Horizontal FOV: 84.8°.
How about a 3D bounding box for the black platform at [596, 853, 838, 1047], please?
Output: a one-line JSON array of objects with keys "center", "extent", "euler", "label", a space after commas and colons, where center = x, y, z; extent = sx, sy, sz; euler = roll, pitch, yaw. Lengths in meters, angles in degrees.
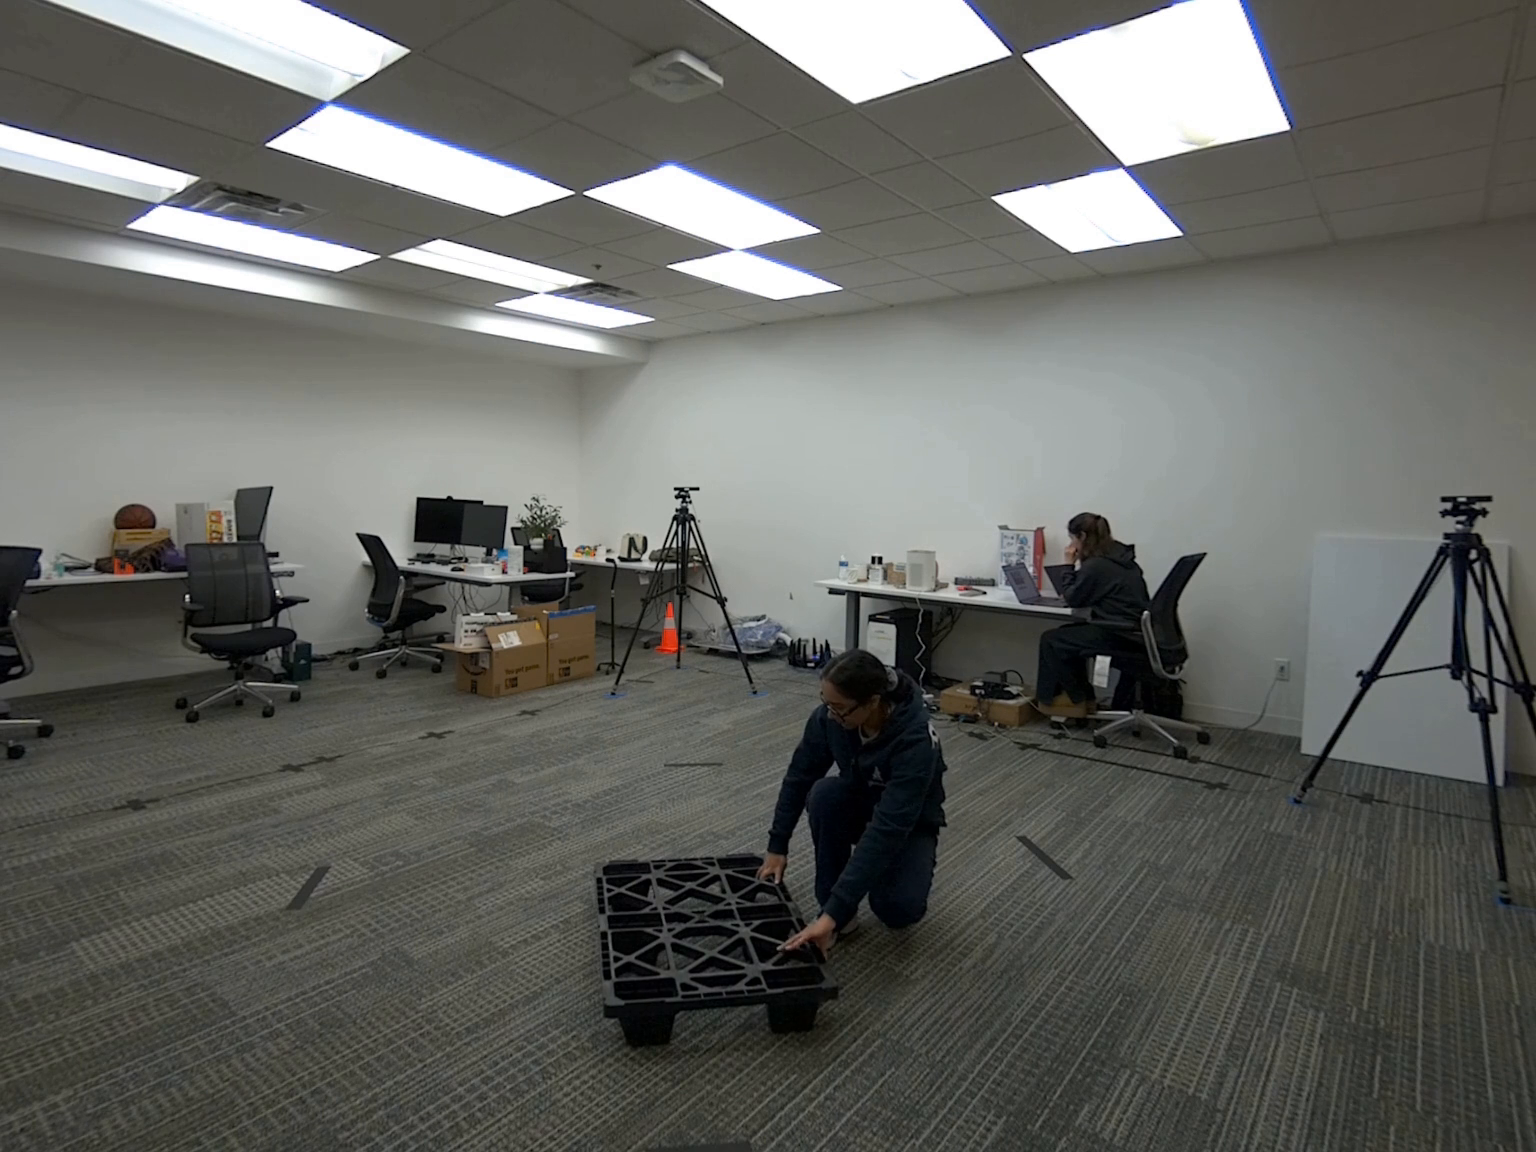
[{"center": [-0.202, 1.056, 2.510], "extent": [0.598, 0.143, 0.819], "euler": [0, 6, -12], "label": "black platform"}]
